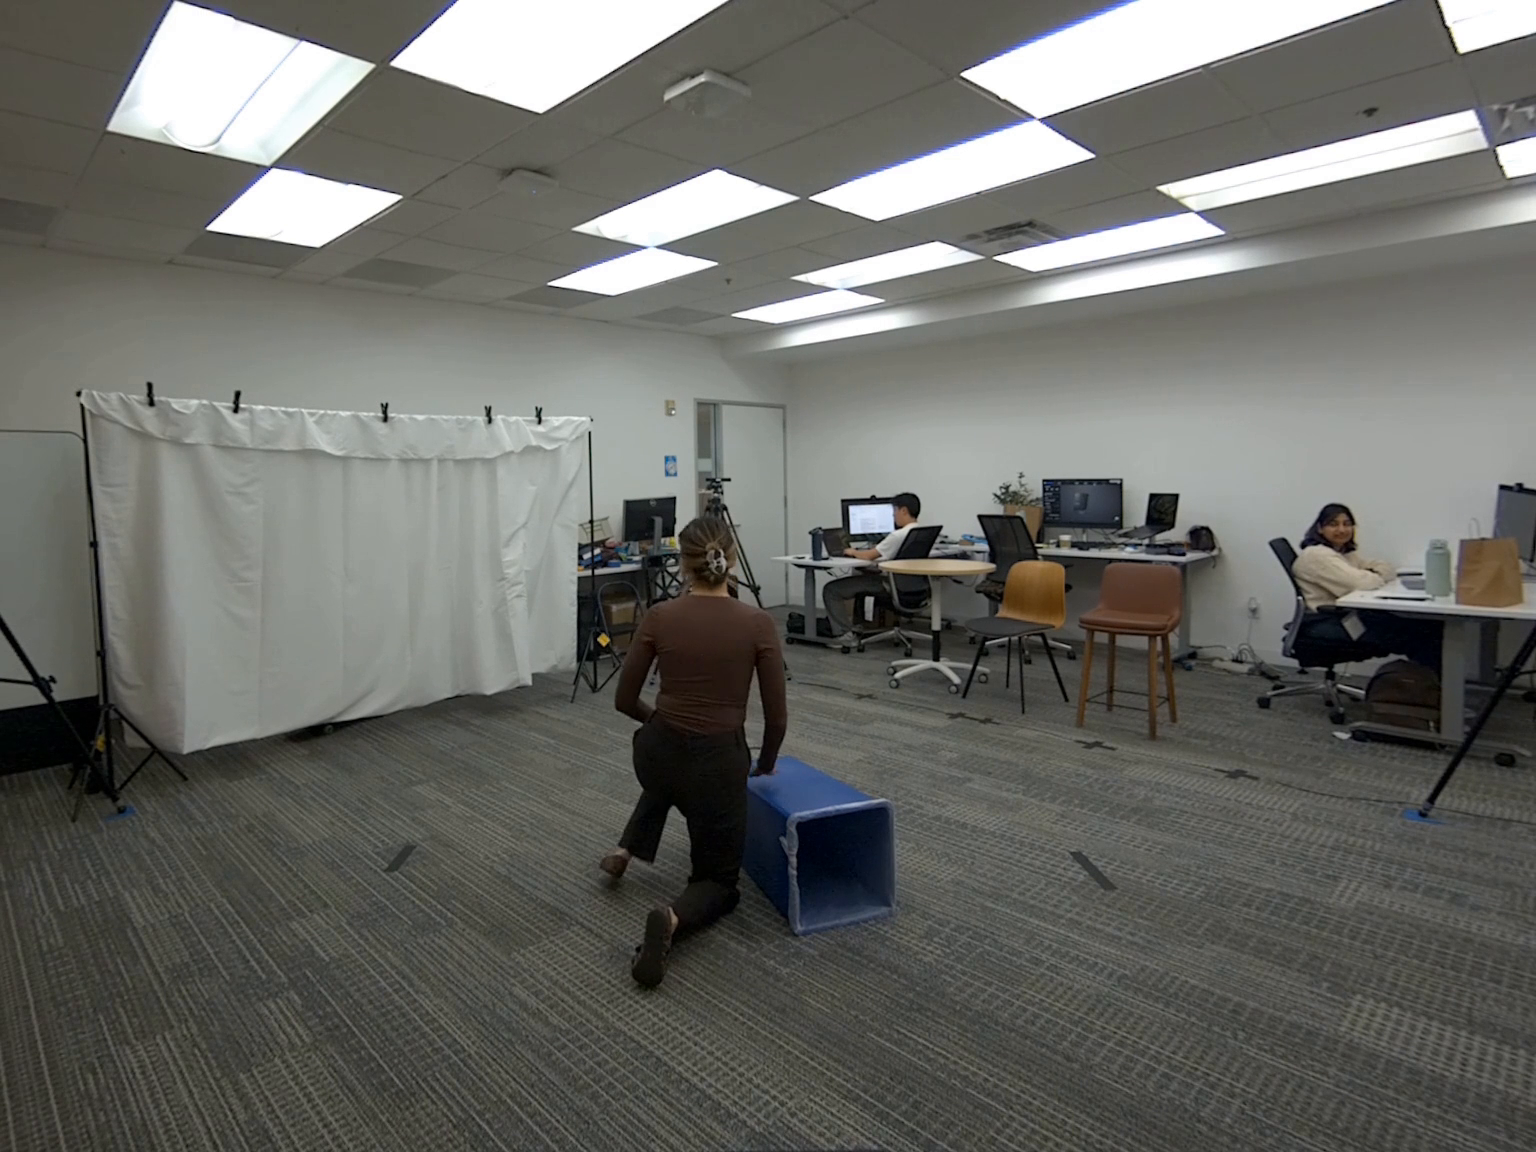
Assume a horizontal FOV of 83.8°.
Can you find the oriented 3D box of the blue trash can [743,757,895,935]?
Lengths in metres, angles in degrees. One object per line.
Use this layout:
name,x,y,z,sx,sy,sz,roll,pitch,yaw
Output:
blue trash can,0.104,0.880,2.989,0.367,0.377,0.728,-4,4,-21
